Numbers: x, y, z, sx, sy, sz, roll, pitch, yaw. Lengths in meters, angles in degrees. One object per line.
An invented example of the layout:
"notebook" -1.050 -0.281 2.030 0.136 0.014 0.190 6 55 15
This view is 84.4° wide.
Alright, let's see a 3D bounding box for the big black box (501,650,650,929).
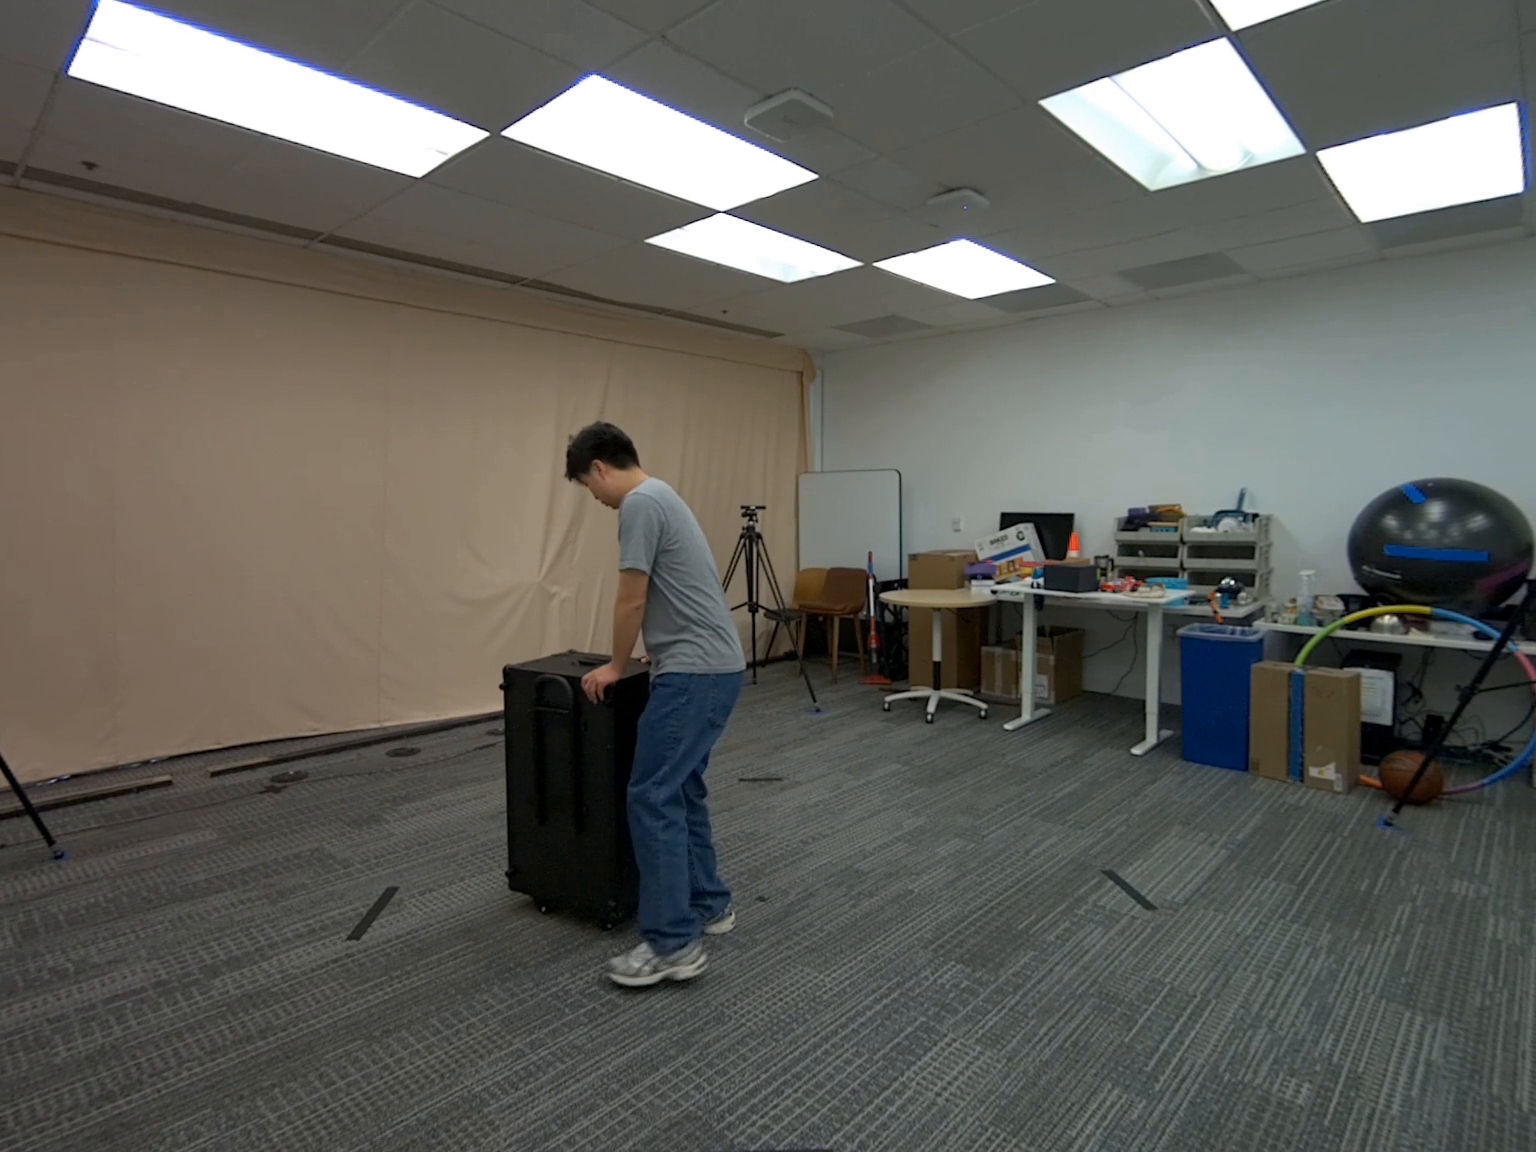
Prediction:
"big black box" -0.611 0.732 2.919 0.536 0.859 0.386 1 4 29
